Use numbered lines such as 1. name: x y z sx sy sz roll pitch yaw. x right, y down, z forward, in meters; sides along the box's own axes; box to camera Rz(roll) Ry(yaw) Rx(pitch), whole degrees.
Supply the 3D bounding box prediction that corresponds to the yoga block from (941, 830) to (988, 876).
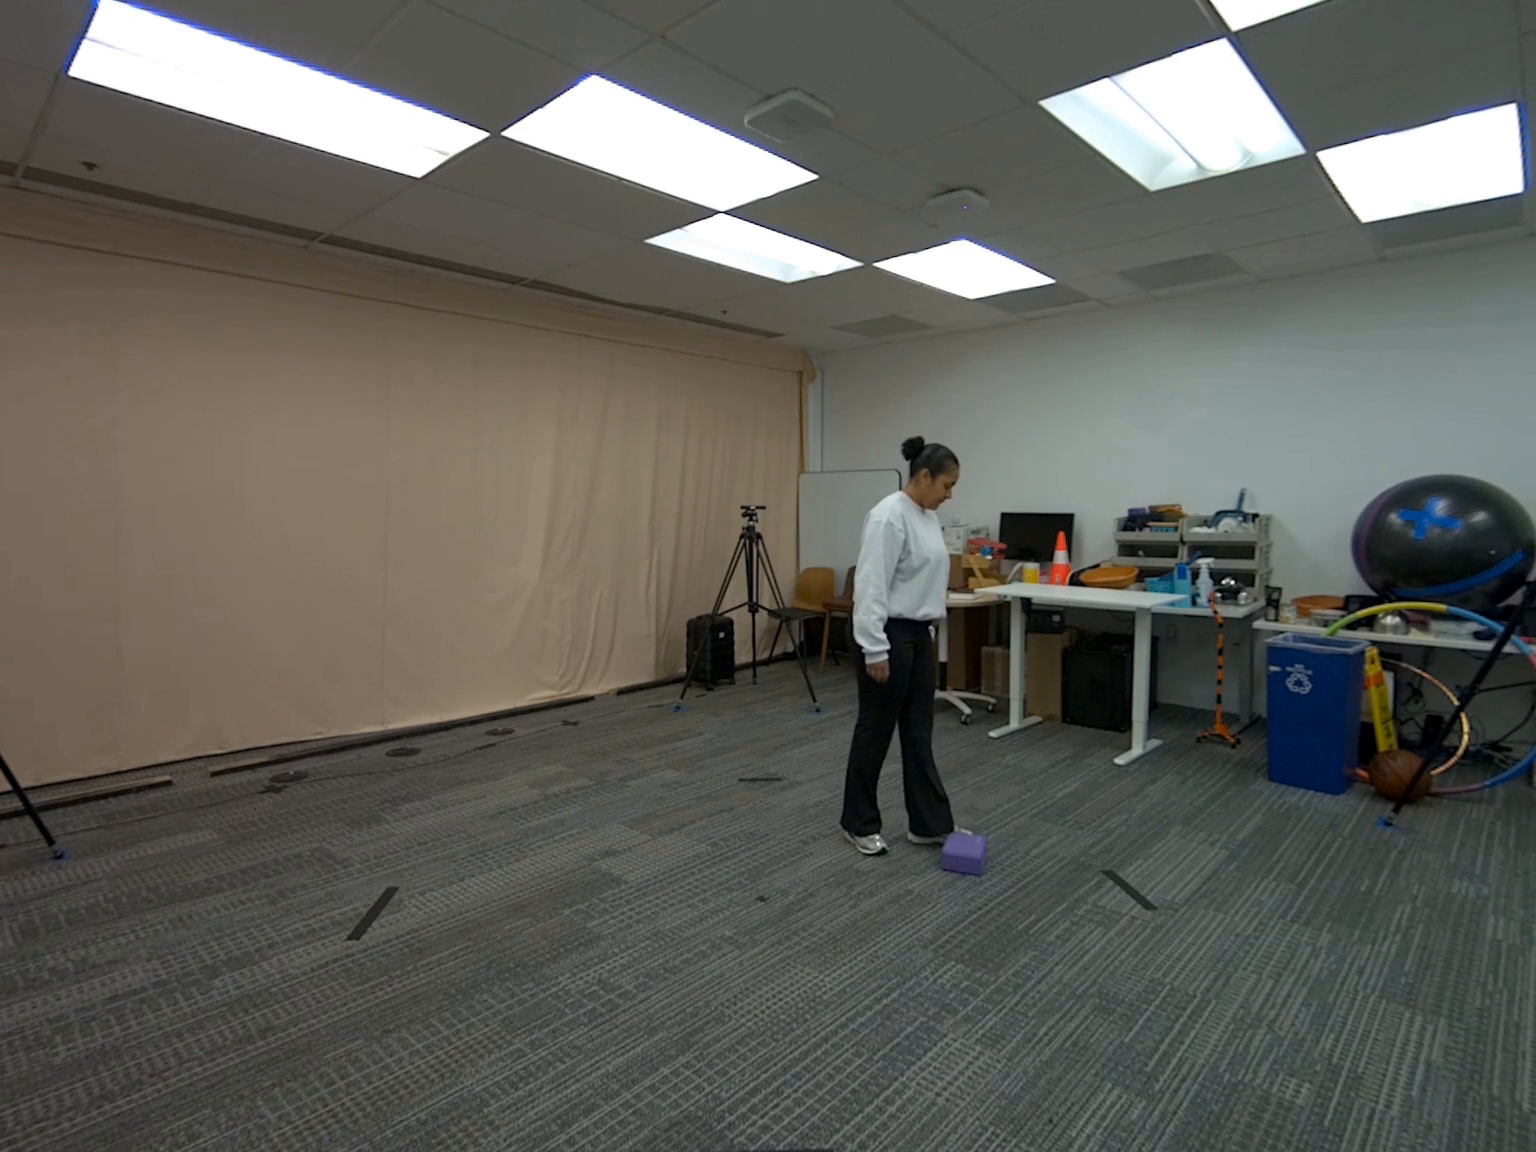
1. yoga block: 0.762 1.075 3.293 0.152 0.076 0.225 2 5 20
